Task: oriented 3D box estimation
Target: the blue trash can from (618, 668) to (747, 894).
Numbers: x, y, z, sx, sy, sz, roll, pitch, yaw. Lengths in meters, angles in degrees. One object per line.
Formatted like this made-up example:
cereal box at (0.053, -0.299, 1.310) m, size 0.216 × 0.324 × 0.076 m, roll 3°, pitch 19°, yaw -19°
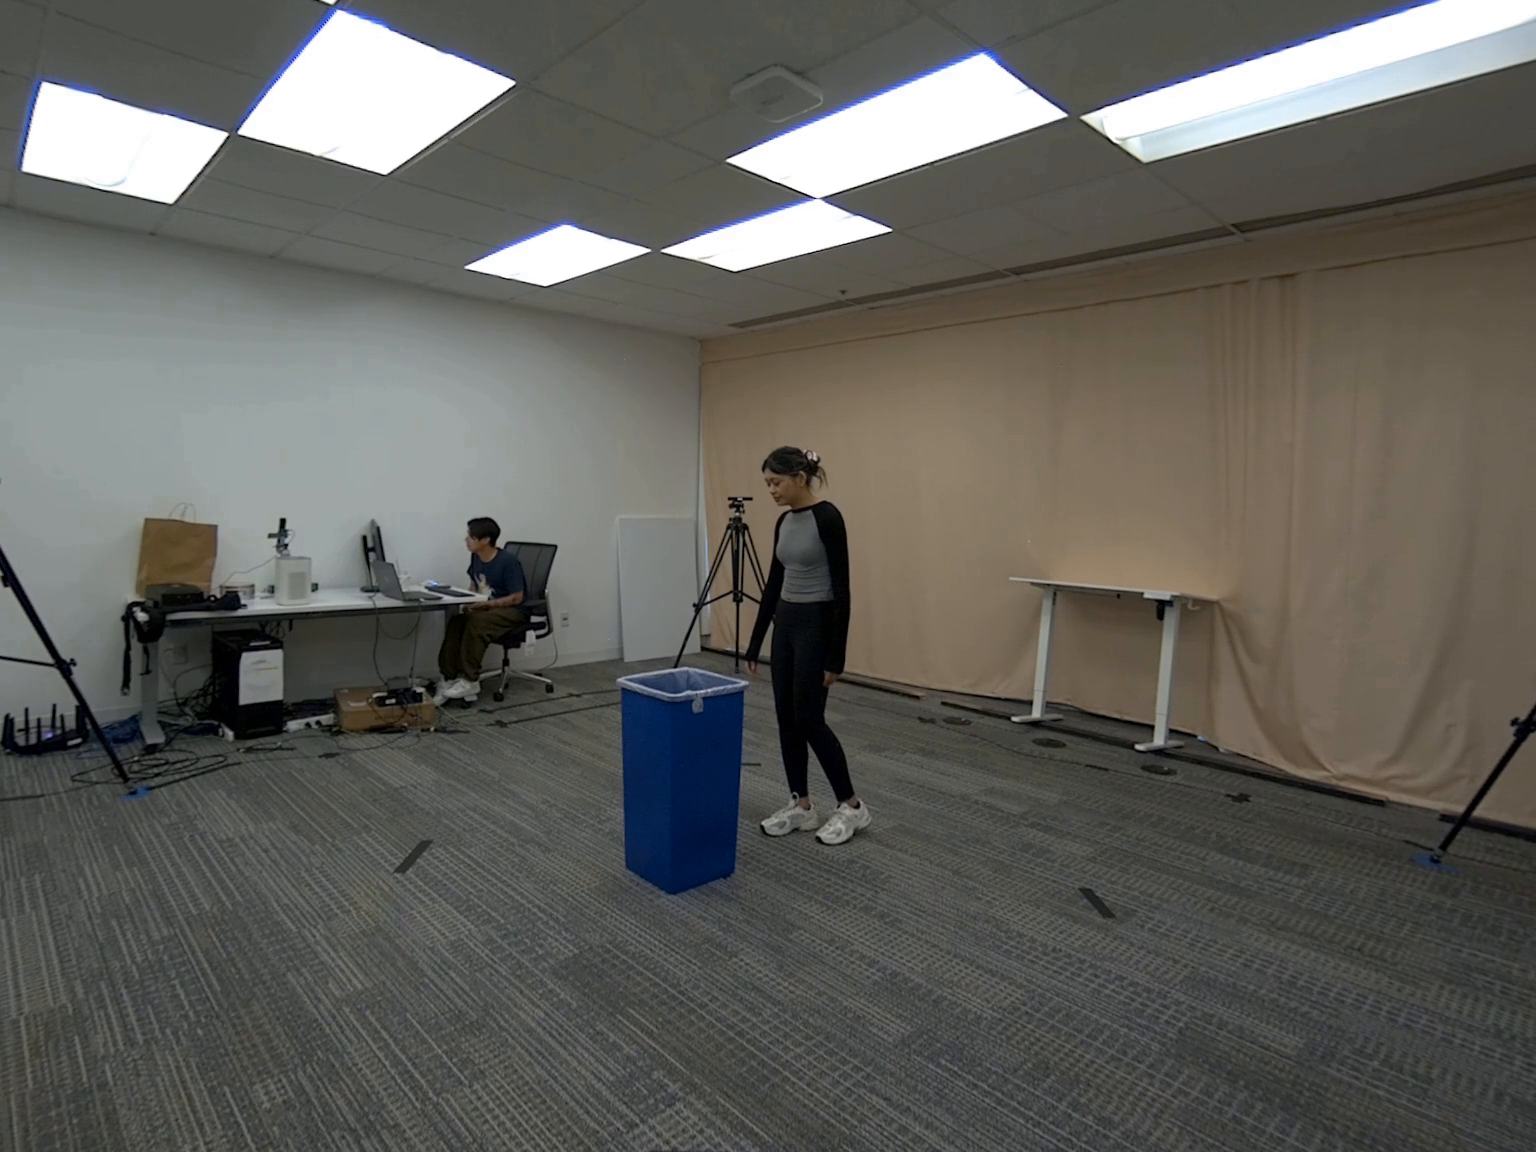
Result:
blue trash can at (-0.335, 0.743, 3.134) m, size 0.369 × 0.712 × 0.384 m, roll -1°, pitch 5°, yaw -42°
